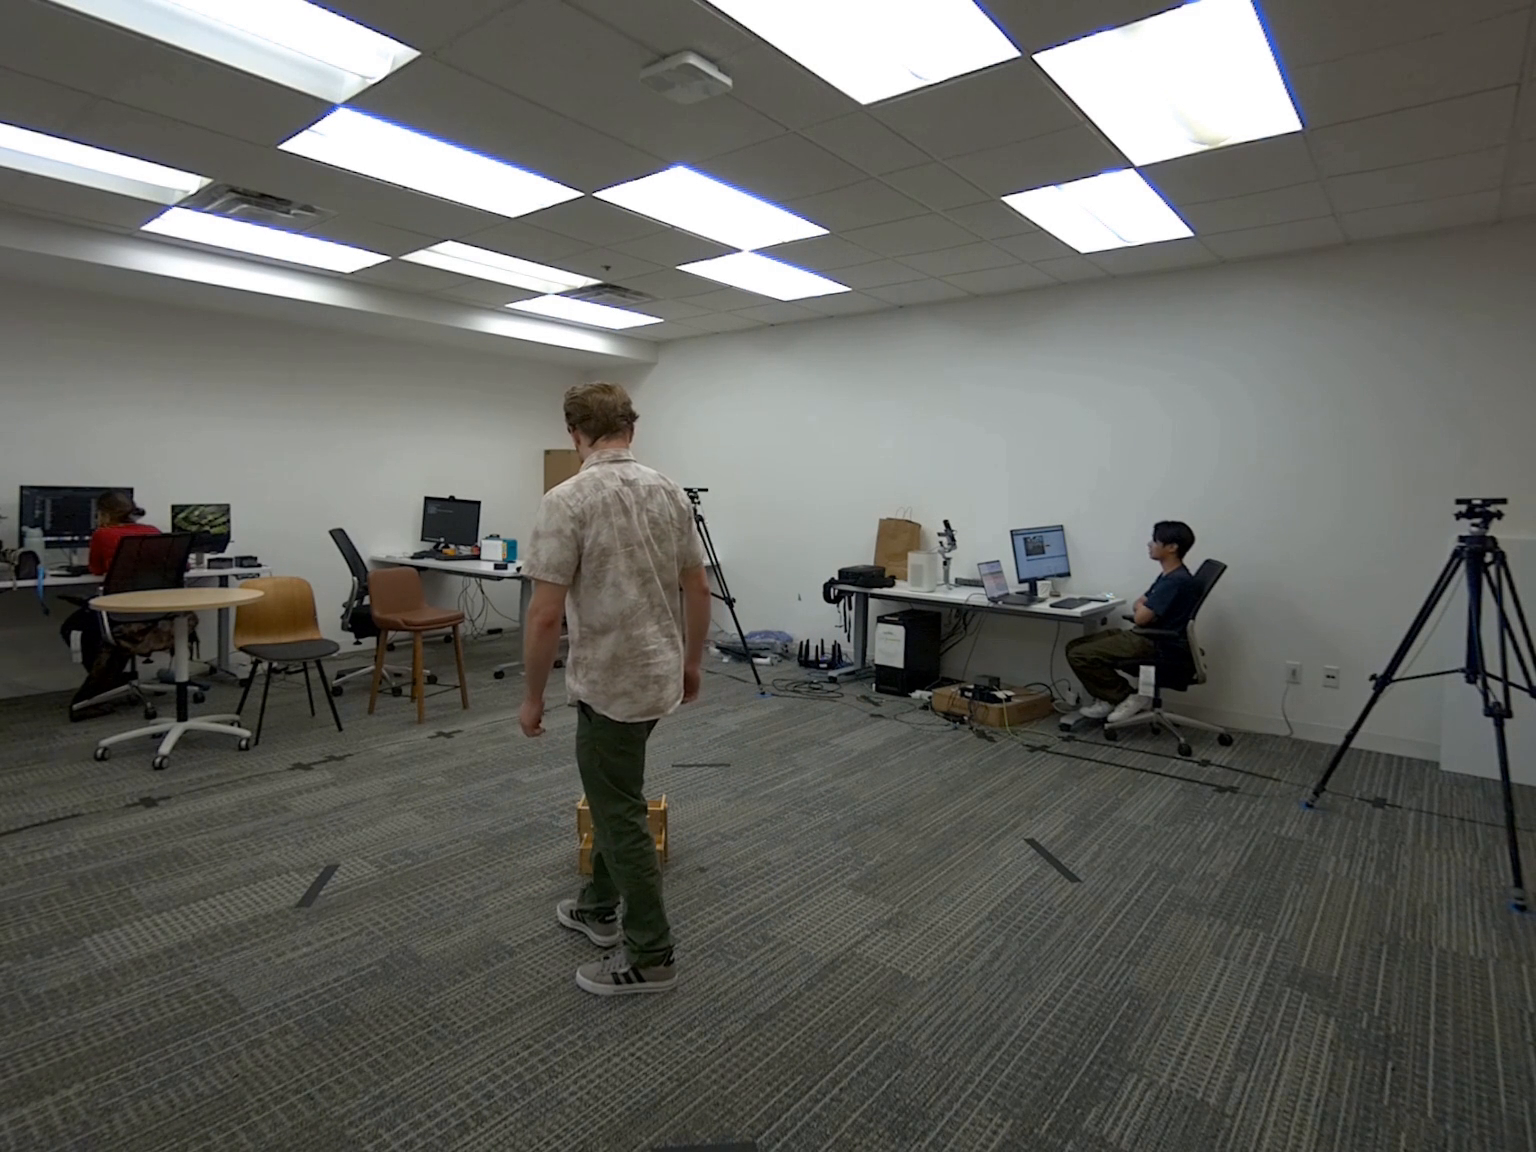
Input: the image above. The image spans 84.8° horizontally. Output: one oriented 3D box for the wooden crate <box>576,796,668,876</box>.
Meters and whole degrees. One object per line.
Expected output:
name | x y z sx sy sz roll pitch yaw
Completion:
wooden crate | -0.545 0.927 3.147 0.324 0.272 0.304 1 4 -3
